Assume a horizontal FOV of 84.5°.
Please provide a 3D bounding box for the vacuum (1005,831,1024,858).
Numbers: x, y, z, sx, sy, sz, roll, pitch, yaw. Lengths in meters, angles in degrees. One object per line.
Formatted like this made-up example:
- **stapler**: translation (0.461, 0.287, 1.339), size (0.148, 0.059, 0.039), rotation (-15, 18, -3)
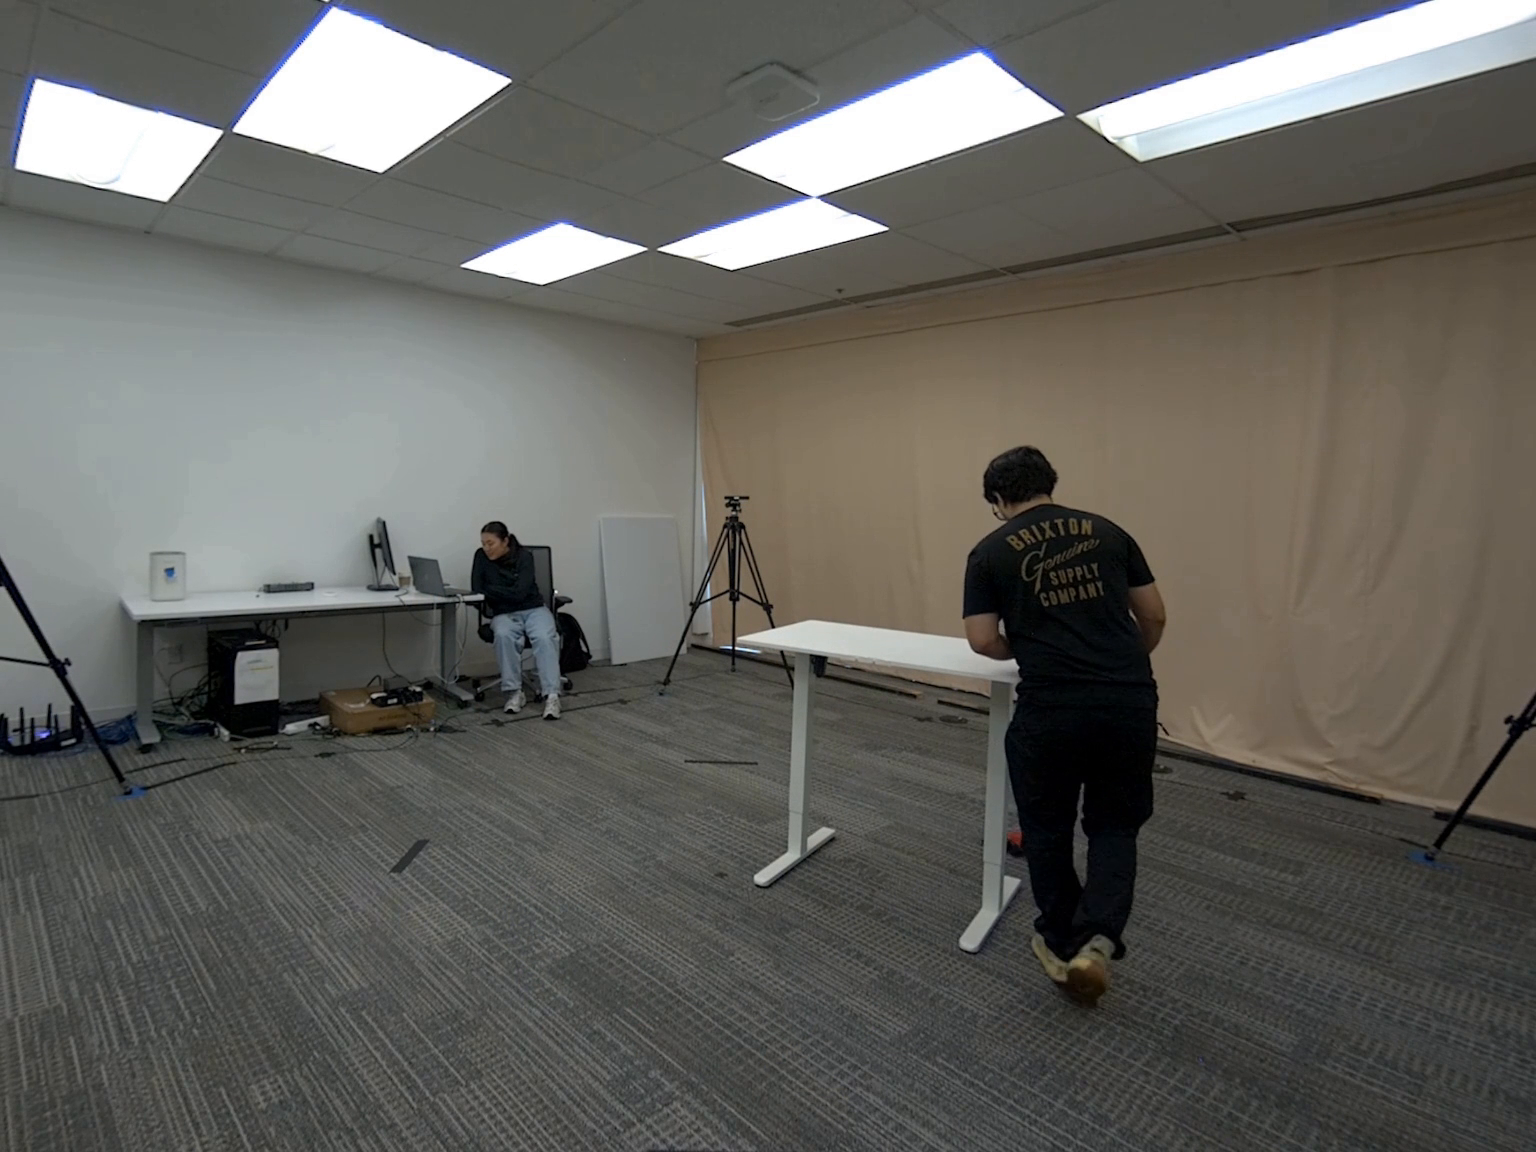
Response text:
- **vacuum**: translation (1.070, 0.729, 3.081), size (0.250, 1.031, 0.148), rotation (-4, 45, -16)
